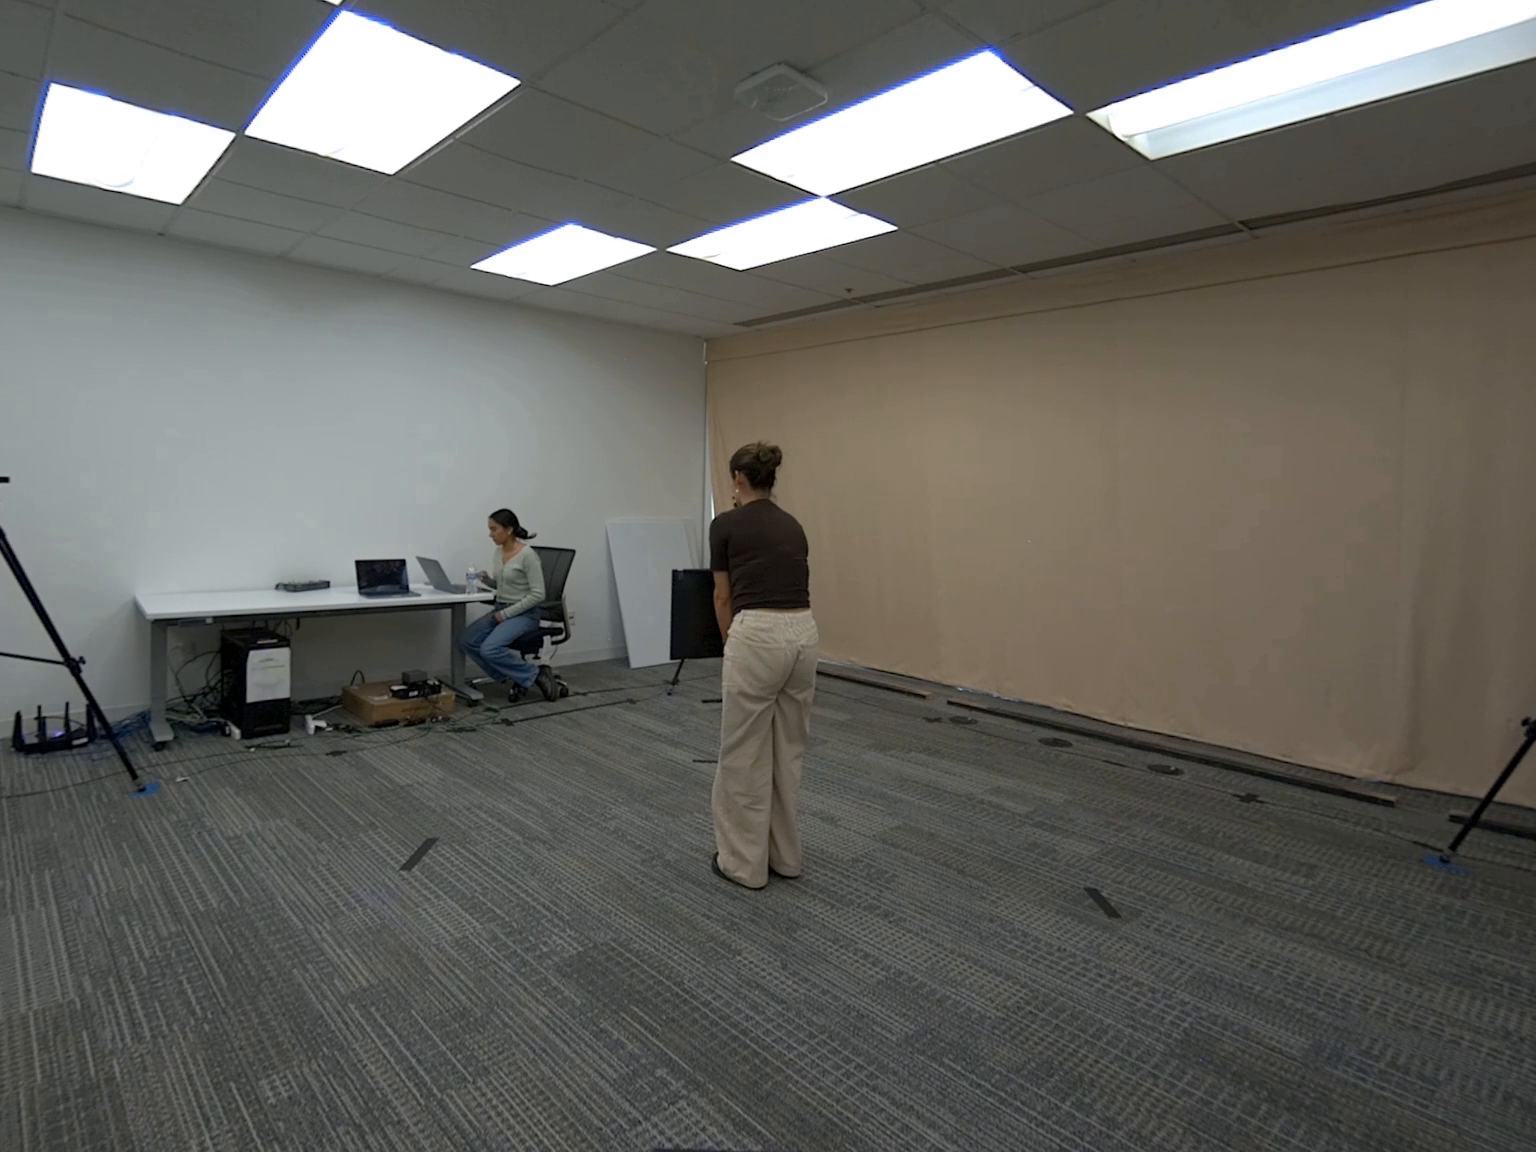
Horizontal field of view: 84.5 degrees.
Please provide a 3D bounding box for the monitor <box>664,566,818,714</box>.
[{"bbox_3d":[-0.106,0.233,3.273,0.529,0.525,0.189,-1,-7,-26],"label":"monitor"}]
